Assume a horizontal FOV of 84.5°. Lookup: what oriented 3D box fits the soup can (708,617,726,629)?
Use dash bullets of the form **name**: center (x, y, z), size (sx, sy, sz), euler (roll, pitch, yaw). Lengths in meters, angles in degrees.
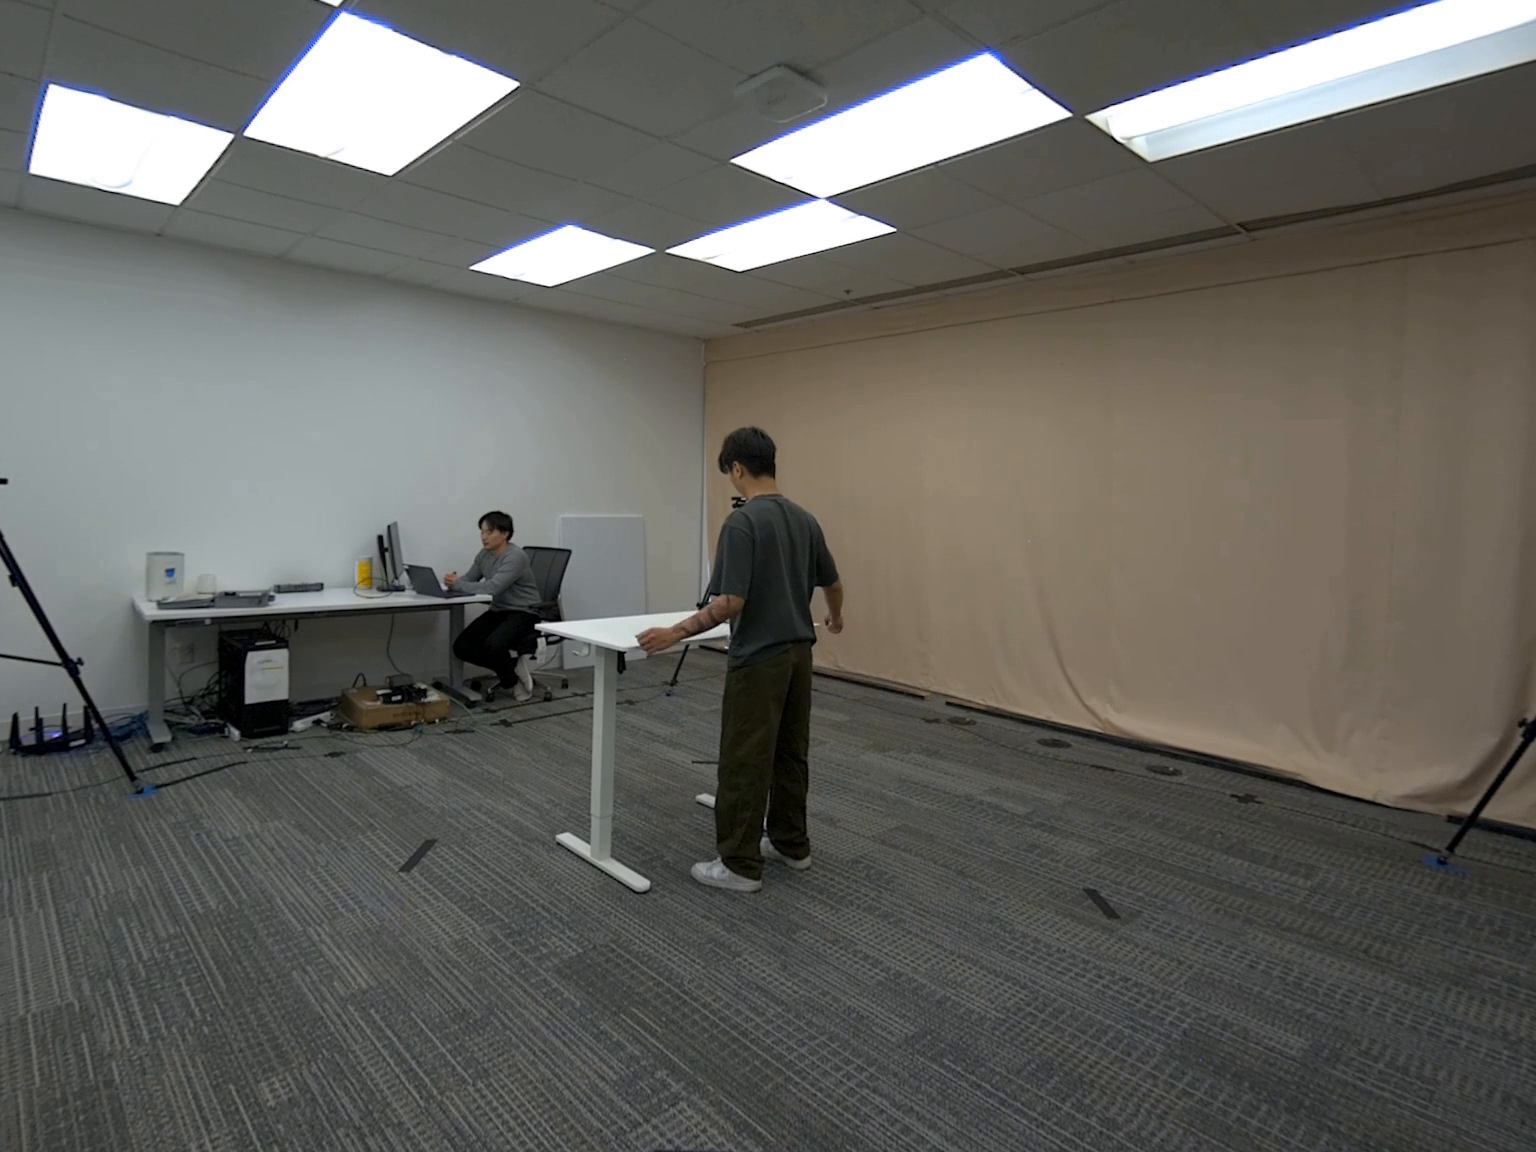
- **soup can**: center (-0.182, 0.159, 3.500), size (0.066, 0.067, 0.124), euler (-1, 5, -34)
